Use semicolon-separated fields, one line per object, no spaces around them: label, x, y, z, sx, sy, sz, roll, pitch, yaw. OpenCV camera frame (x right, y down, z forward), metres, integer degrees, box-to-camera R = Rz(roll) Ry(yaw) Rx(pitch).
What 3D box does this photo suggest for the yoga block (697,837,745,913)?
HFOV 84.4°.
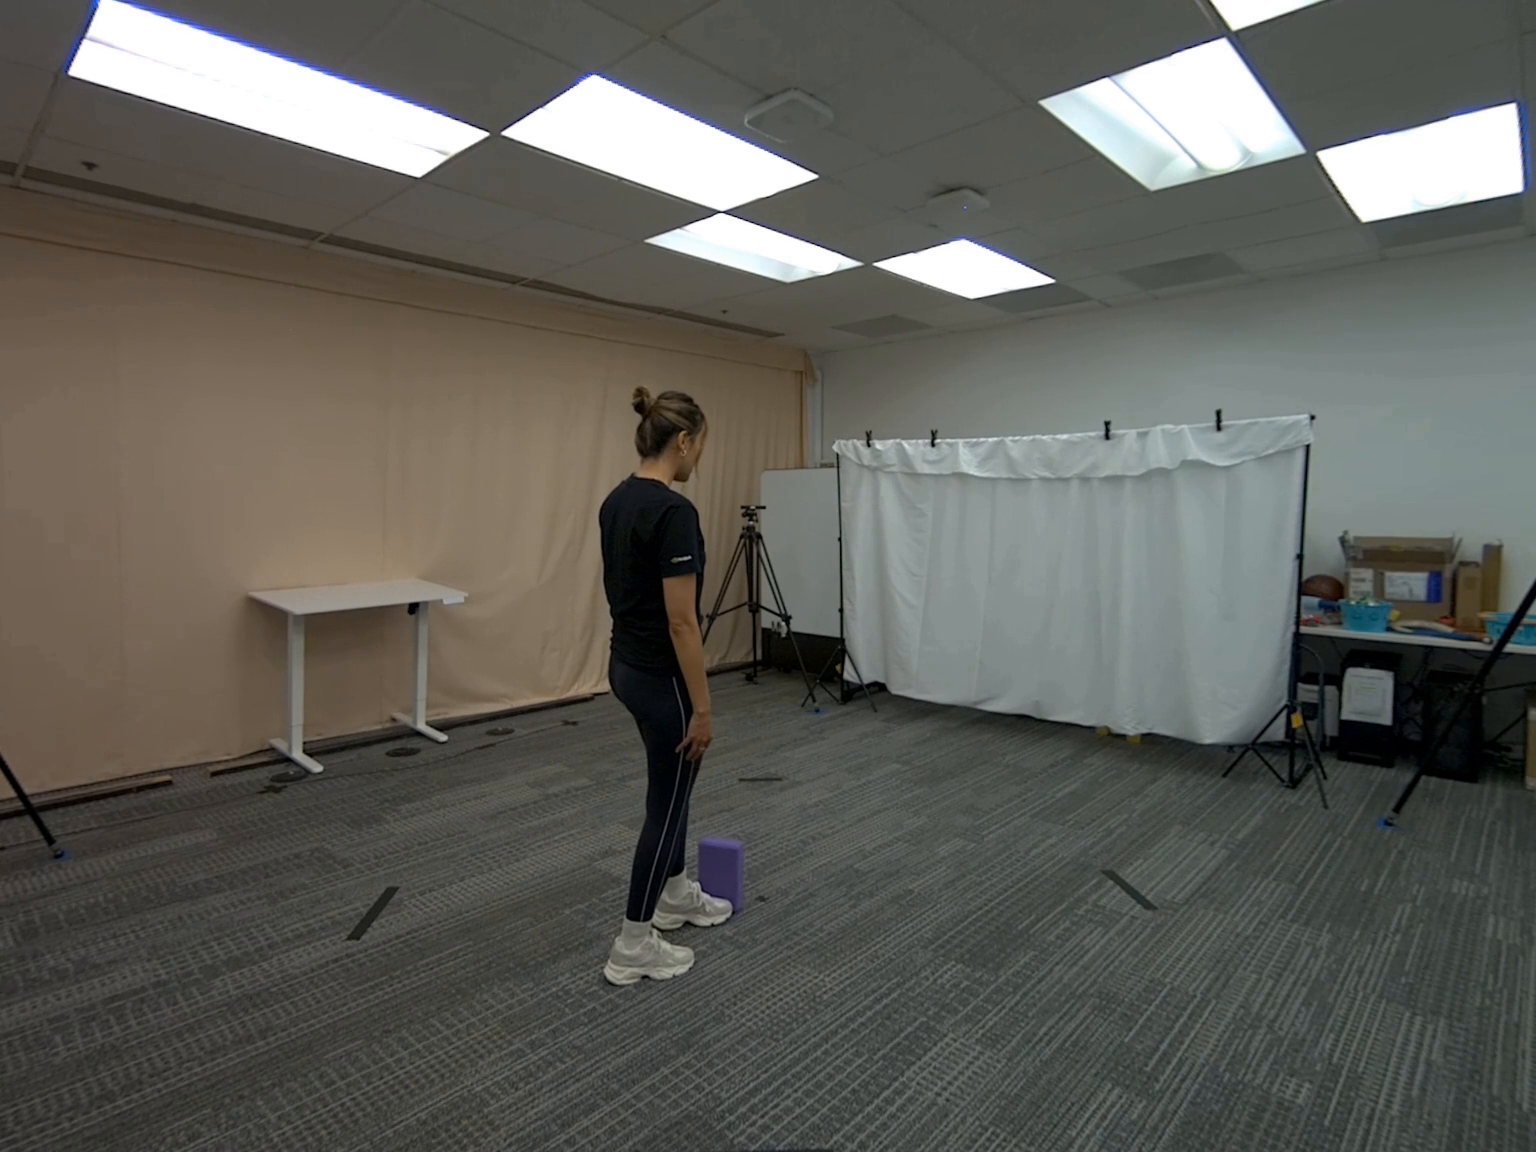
yoga block;-0.161;1.033;2.917;0.152;0.229;0.075;2;3;21
